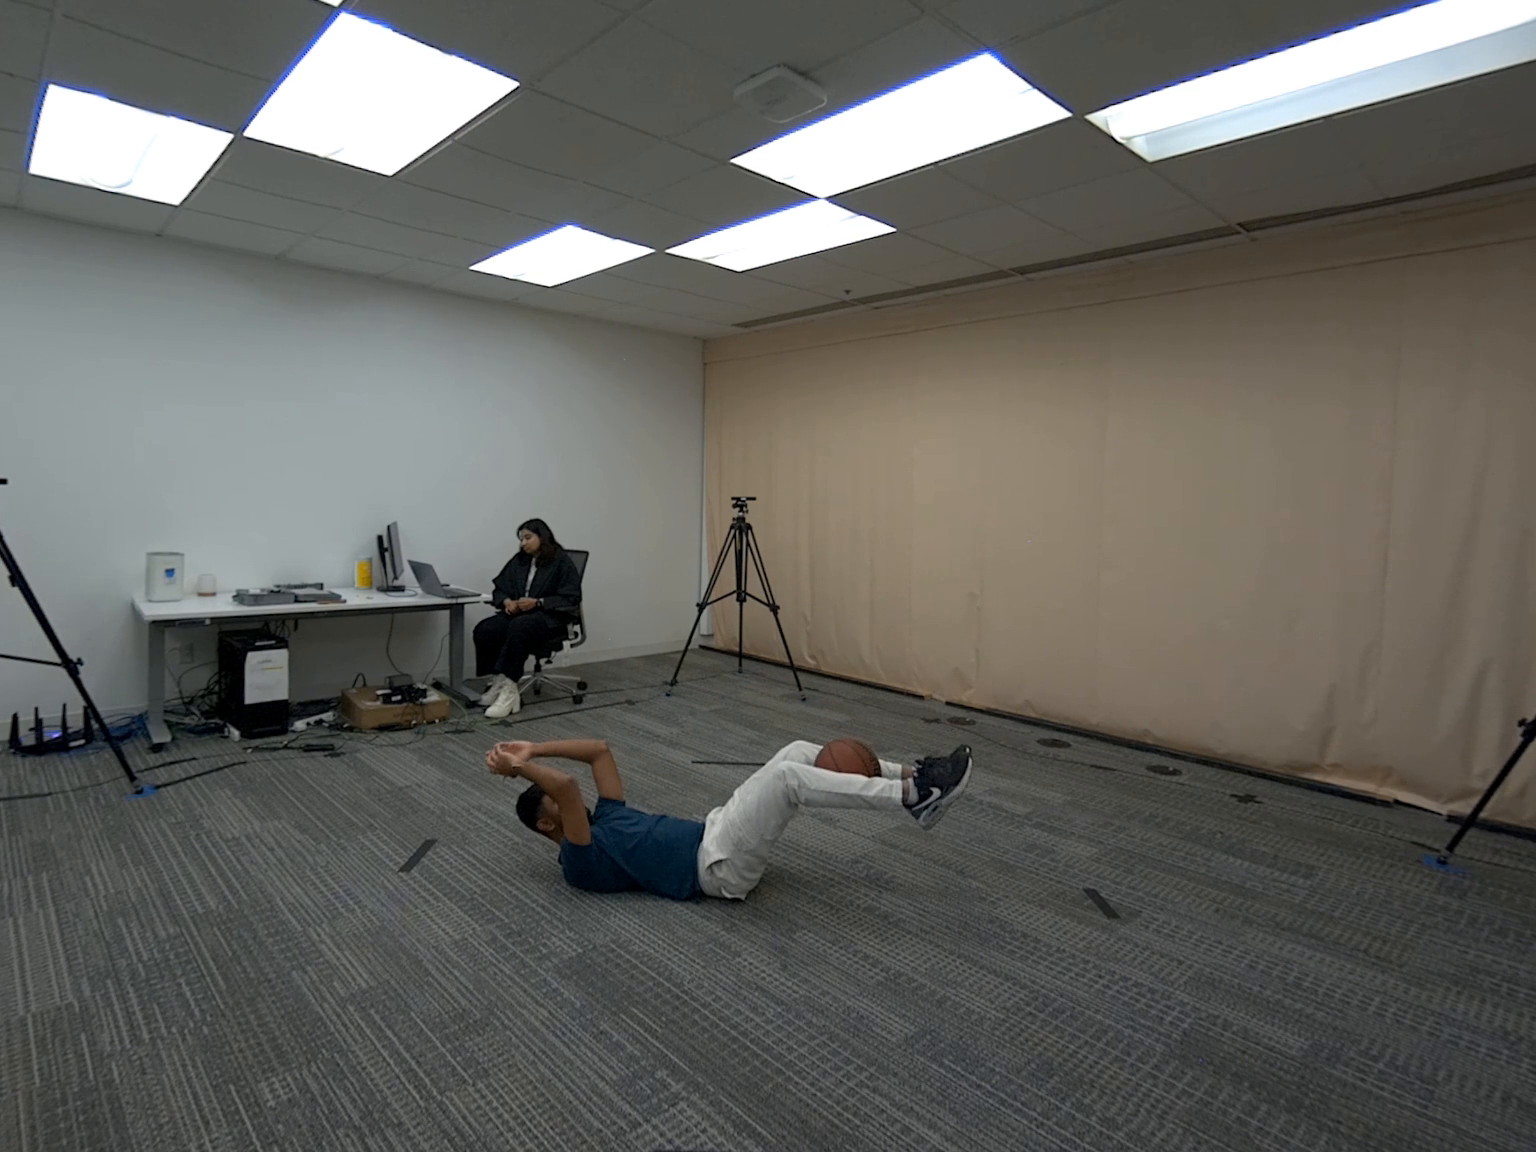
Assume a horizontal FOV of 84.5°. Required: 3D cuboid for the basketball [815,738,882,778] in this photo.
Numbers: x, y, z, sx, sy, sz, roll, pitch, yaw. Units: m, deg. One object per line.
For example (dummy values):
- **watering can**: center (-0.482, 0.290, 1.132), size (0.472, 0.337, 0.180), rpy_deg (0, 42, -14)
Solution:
- **basketball**: center (0.269, 0.689, 2.951), size (0.236, 0.235, 0.237), rpy_deg (1, 4, -1)
